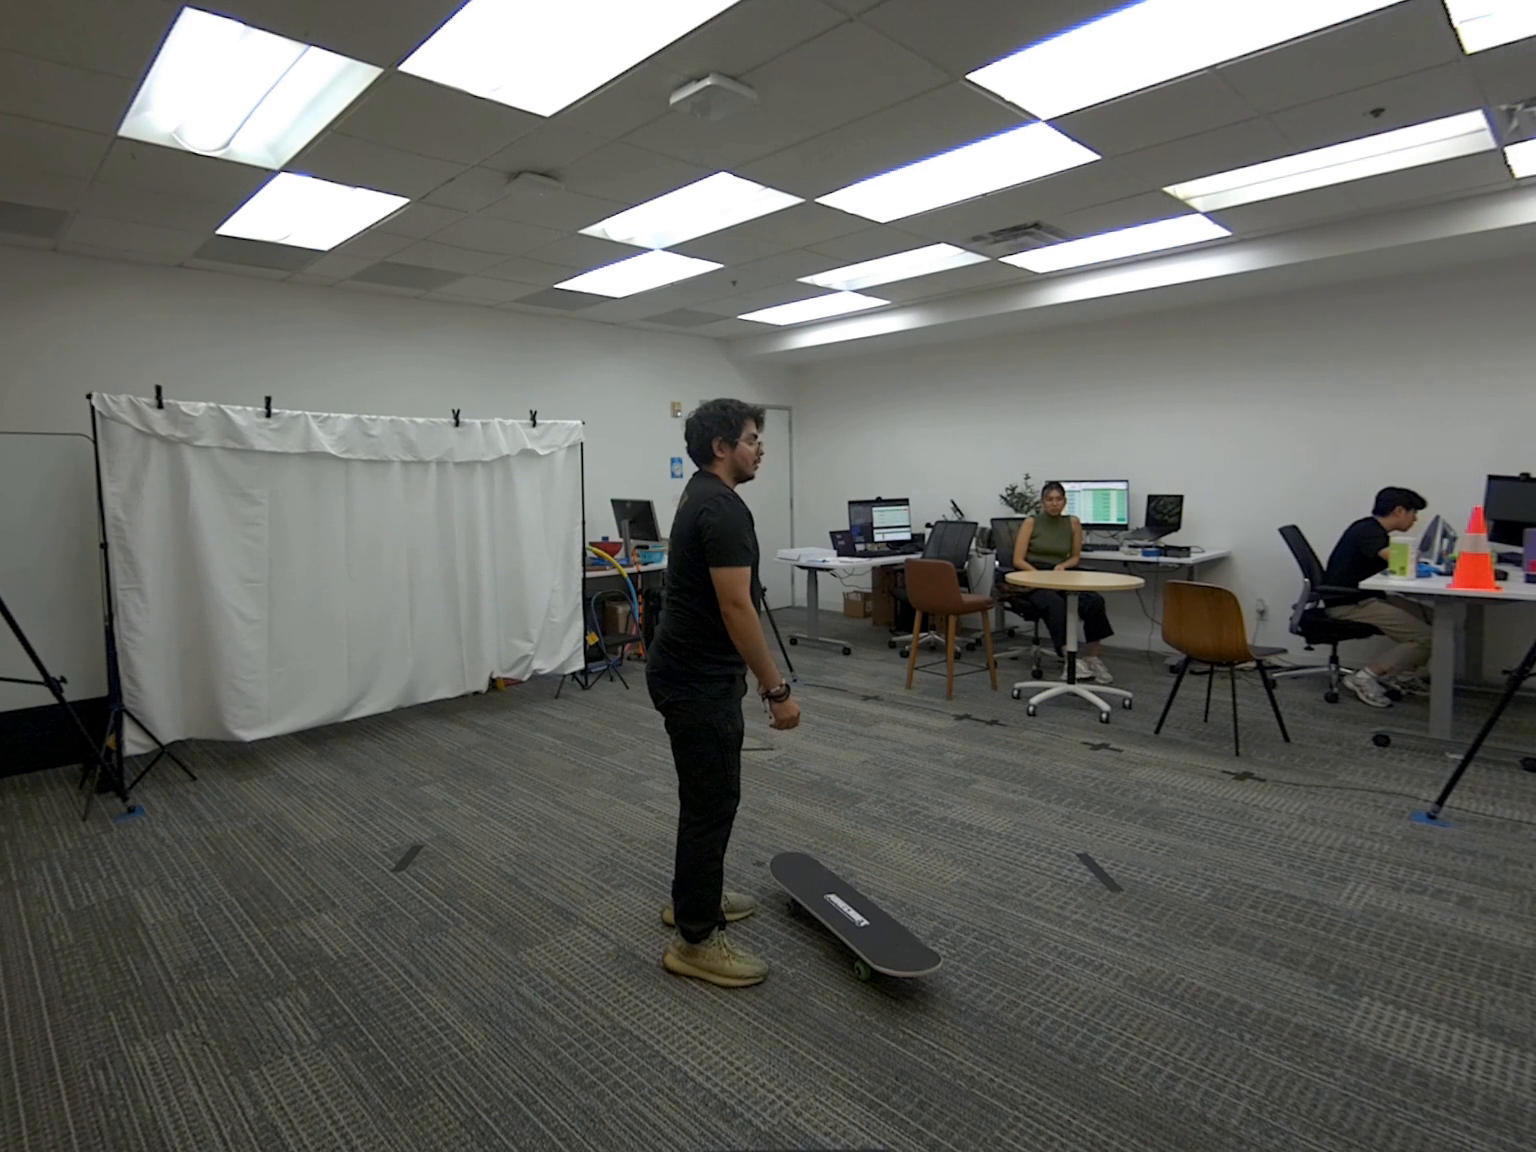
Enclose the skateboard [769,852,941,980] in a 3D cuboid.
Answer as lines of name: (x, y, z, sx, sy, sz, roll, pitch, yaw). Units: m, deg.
skateboard: (0.241, 1.038, 2.598, 0.189, 0.110, 0.806, -3, 7, -26)
